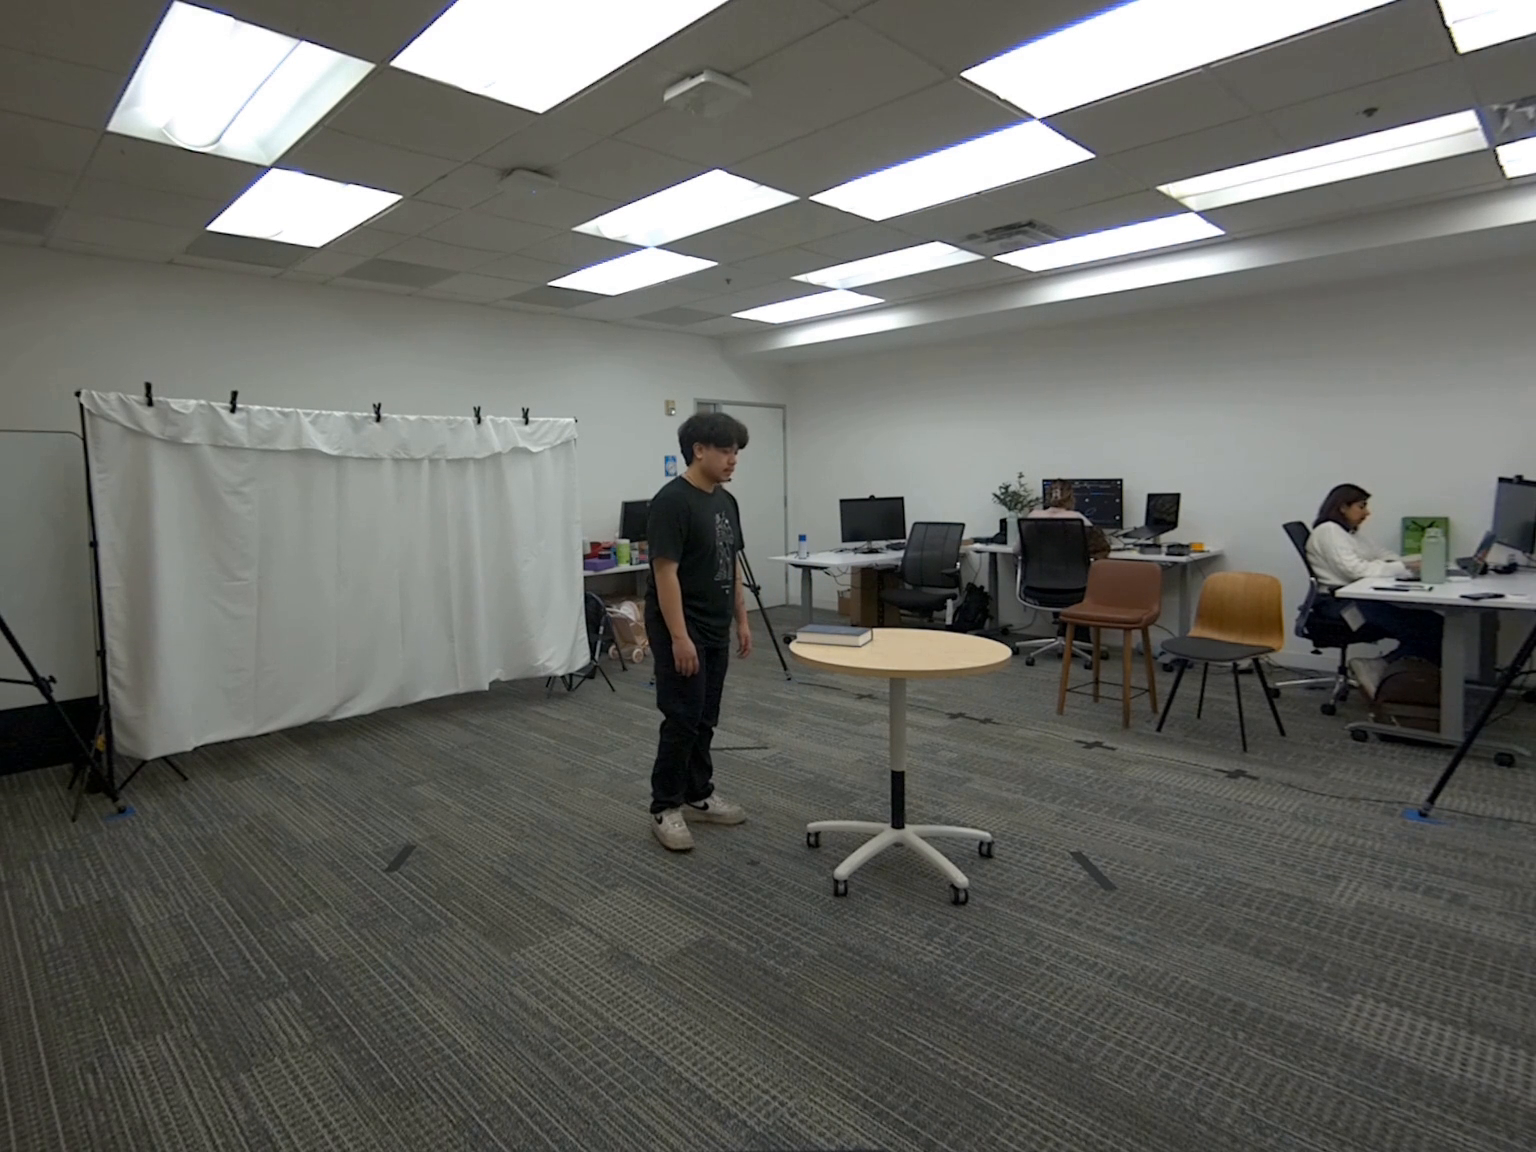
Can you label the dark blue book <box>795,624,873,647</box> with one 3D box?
[{"bbox_3d":[0.259,0.221,3.142,0.251,0.045,0.160,2,7,26],"label":"dark blue book"}]
